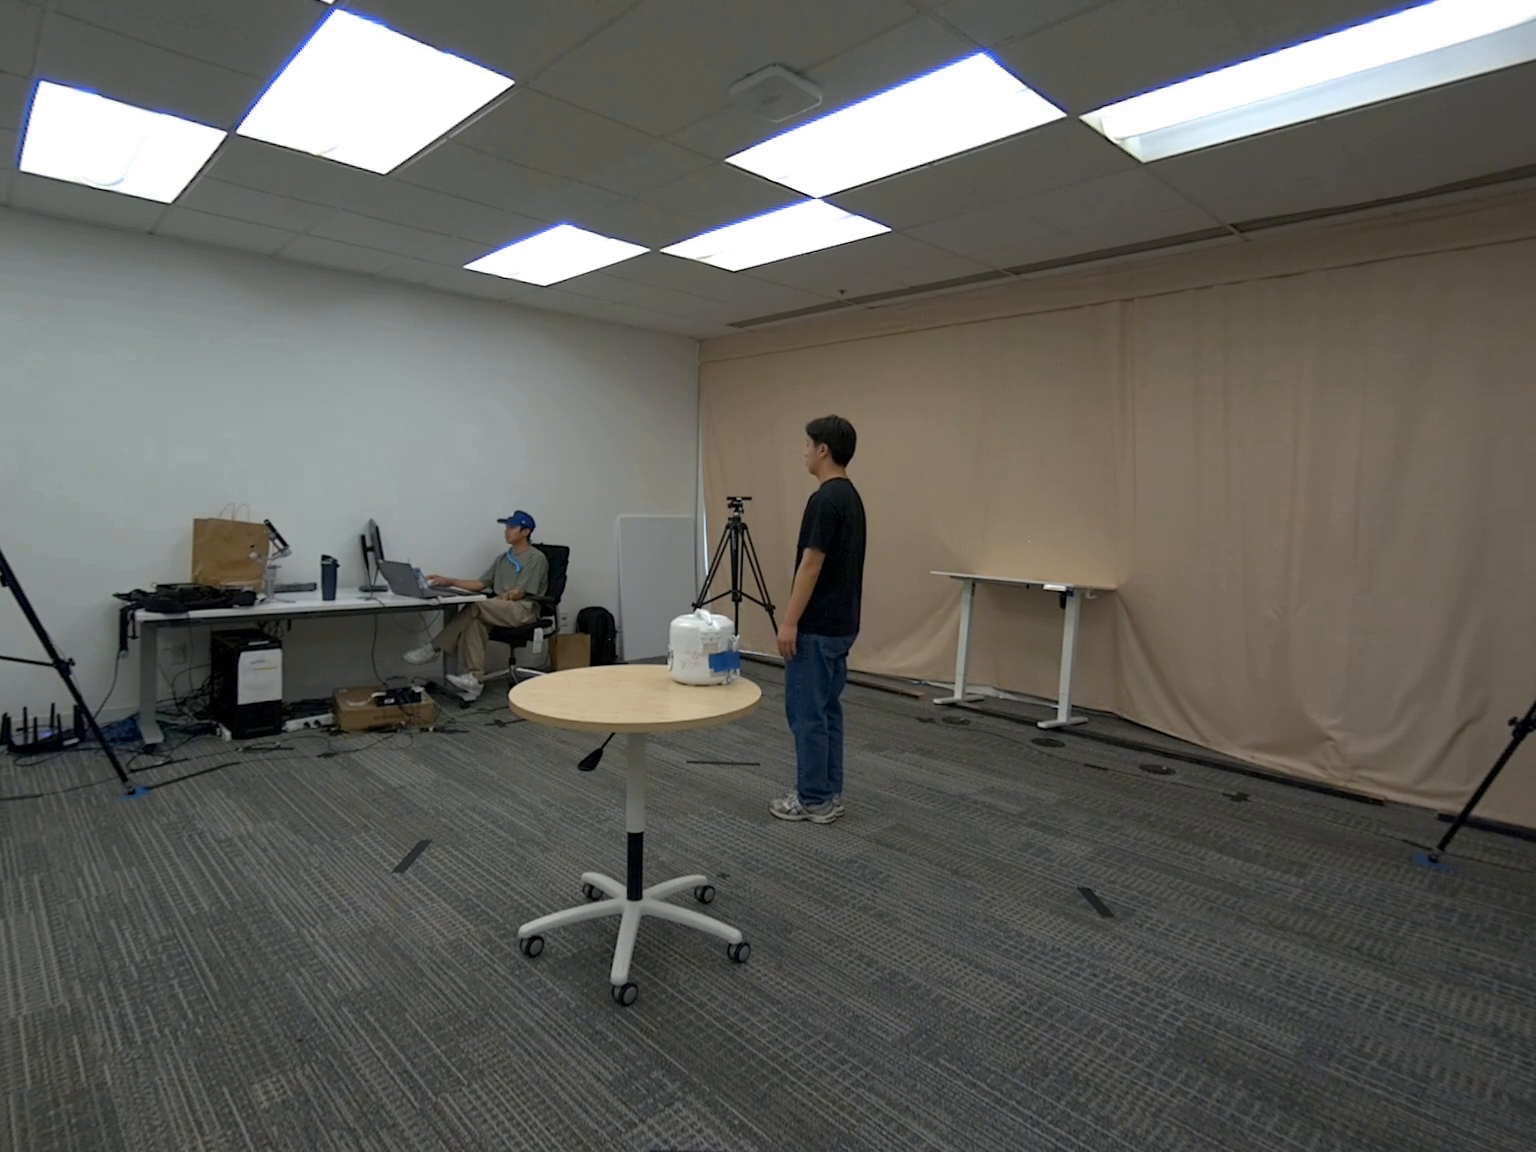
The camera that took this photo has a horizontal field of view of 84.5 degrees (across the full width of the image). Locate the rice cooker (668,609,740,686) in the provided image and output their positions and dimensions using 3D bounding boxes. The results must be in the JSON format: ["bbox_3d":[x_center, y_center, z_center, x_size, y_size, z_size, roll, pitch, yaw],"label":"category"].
[{"bbox_3d":[-0.216,0.227,2.720,0.214,0.232,0.224,1,4,-17],"label":"rice cooker"}]
